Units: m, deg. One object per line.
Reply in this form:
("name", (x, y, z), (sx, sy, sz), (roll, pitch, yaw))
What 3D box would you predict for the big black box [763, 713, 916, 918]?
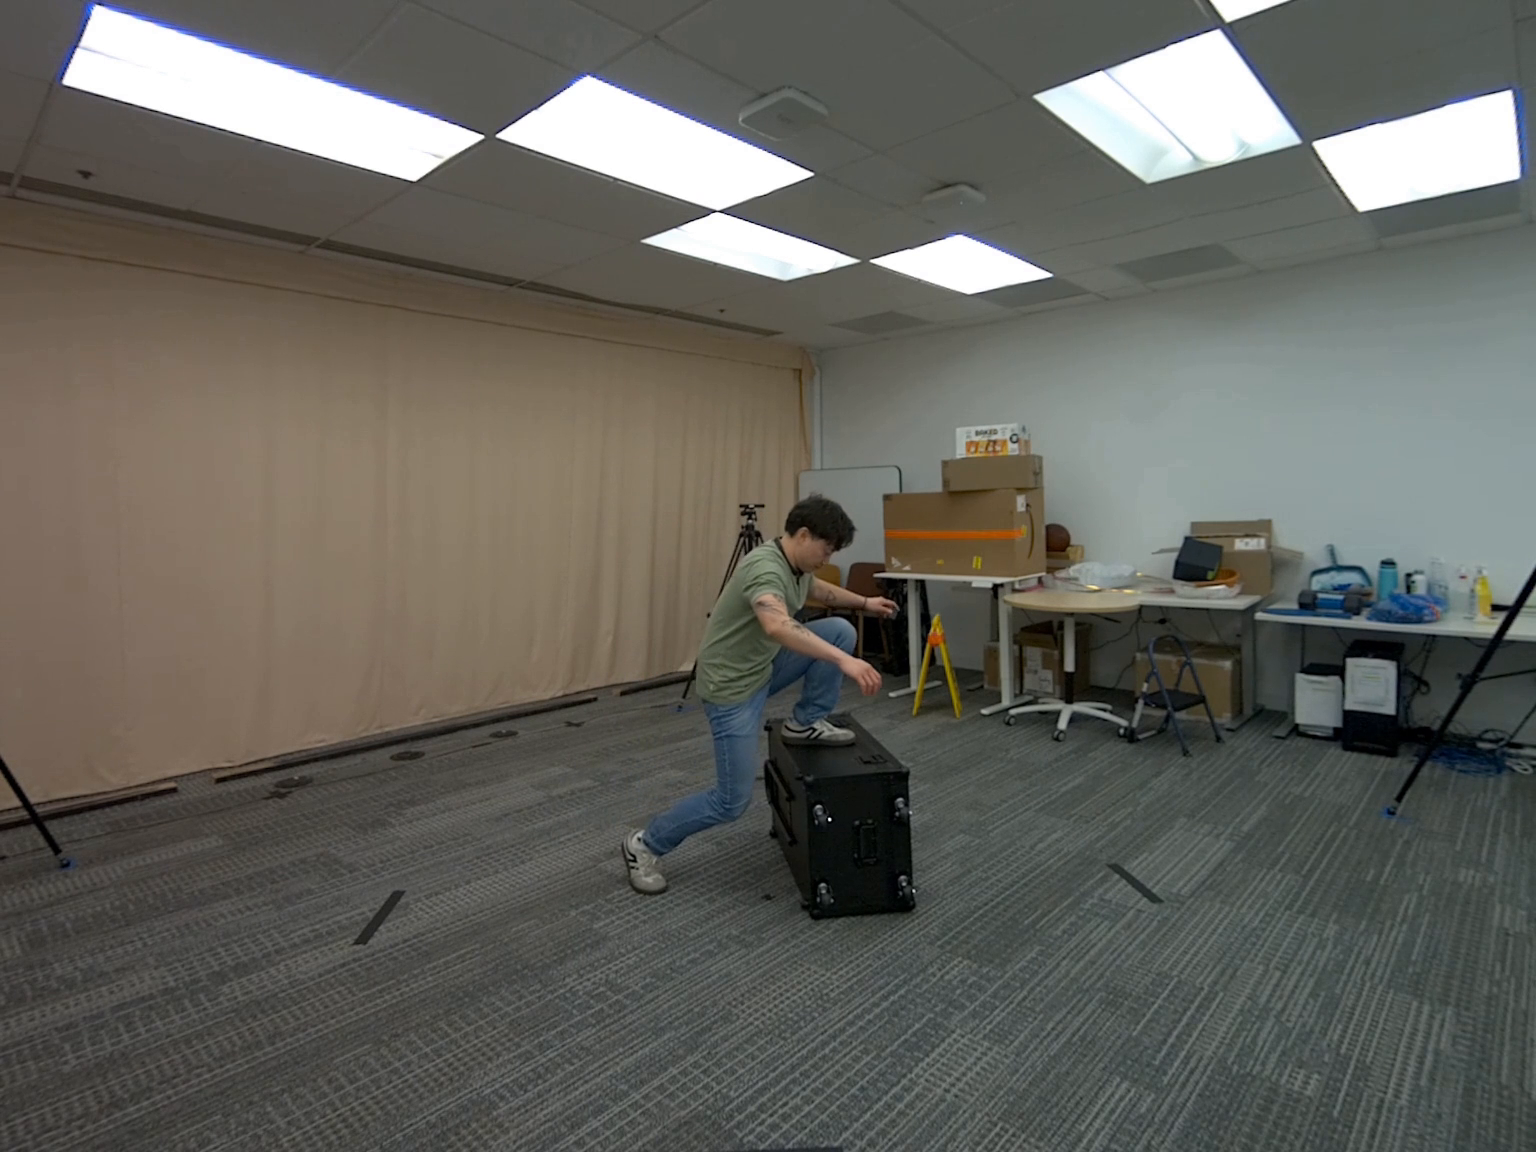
("big black box", (0.239, 0.863, 3.170), (0.393, 0.520, 0.871), (-4, 5, -9))
